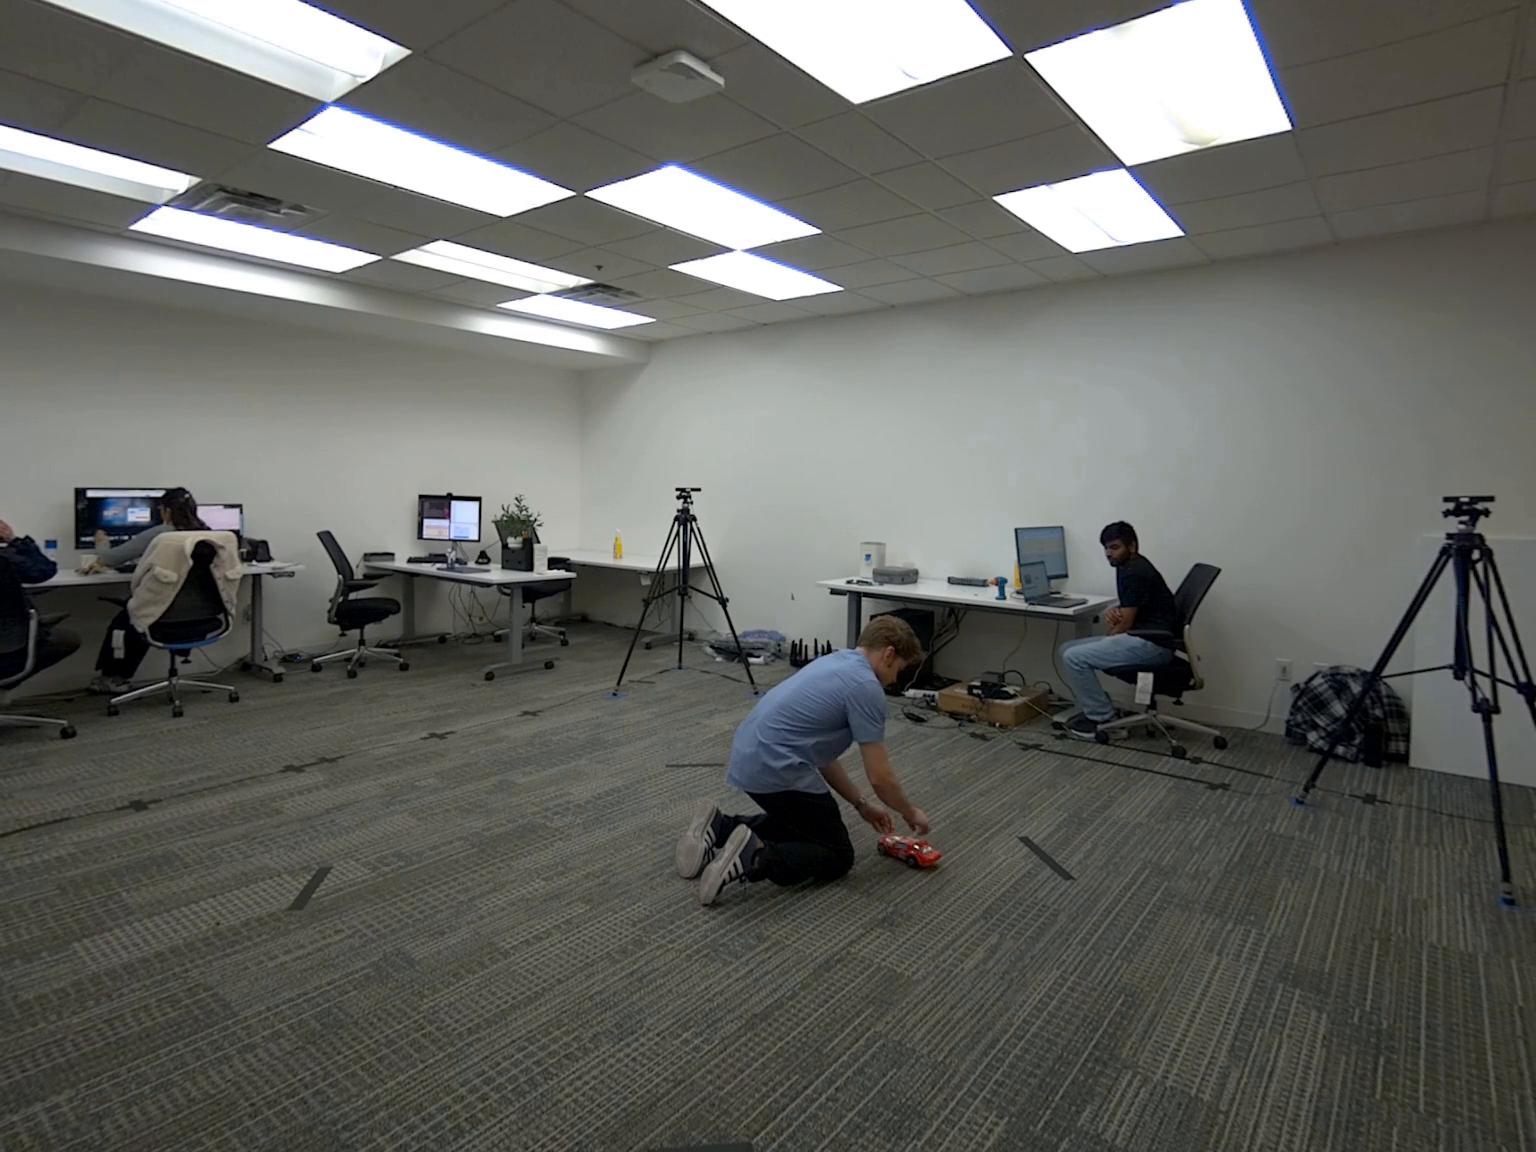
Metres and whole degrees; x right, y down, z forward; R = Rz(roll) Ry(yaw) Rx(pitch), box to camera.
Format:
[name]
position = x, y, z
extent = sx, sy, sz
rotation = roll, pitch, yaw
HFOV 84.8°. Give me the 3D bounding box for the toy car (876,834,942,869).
[toy car]
position = 0.533, 1.046, 3.220
extent = 0.126, 0.083, 0.261
rotation = -2, -4, -41
